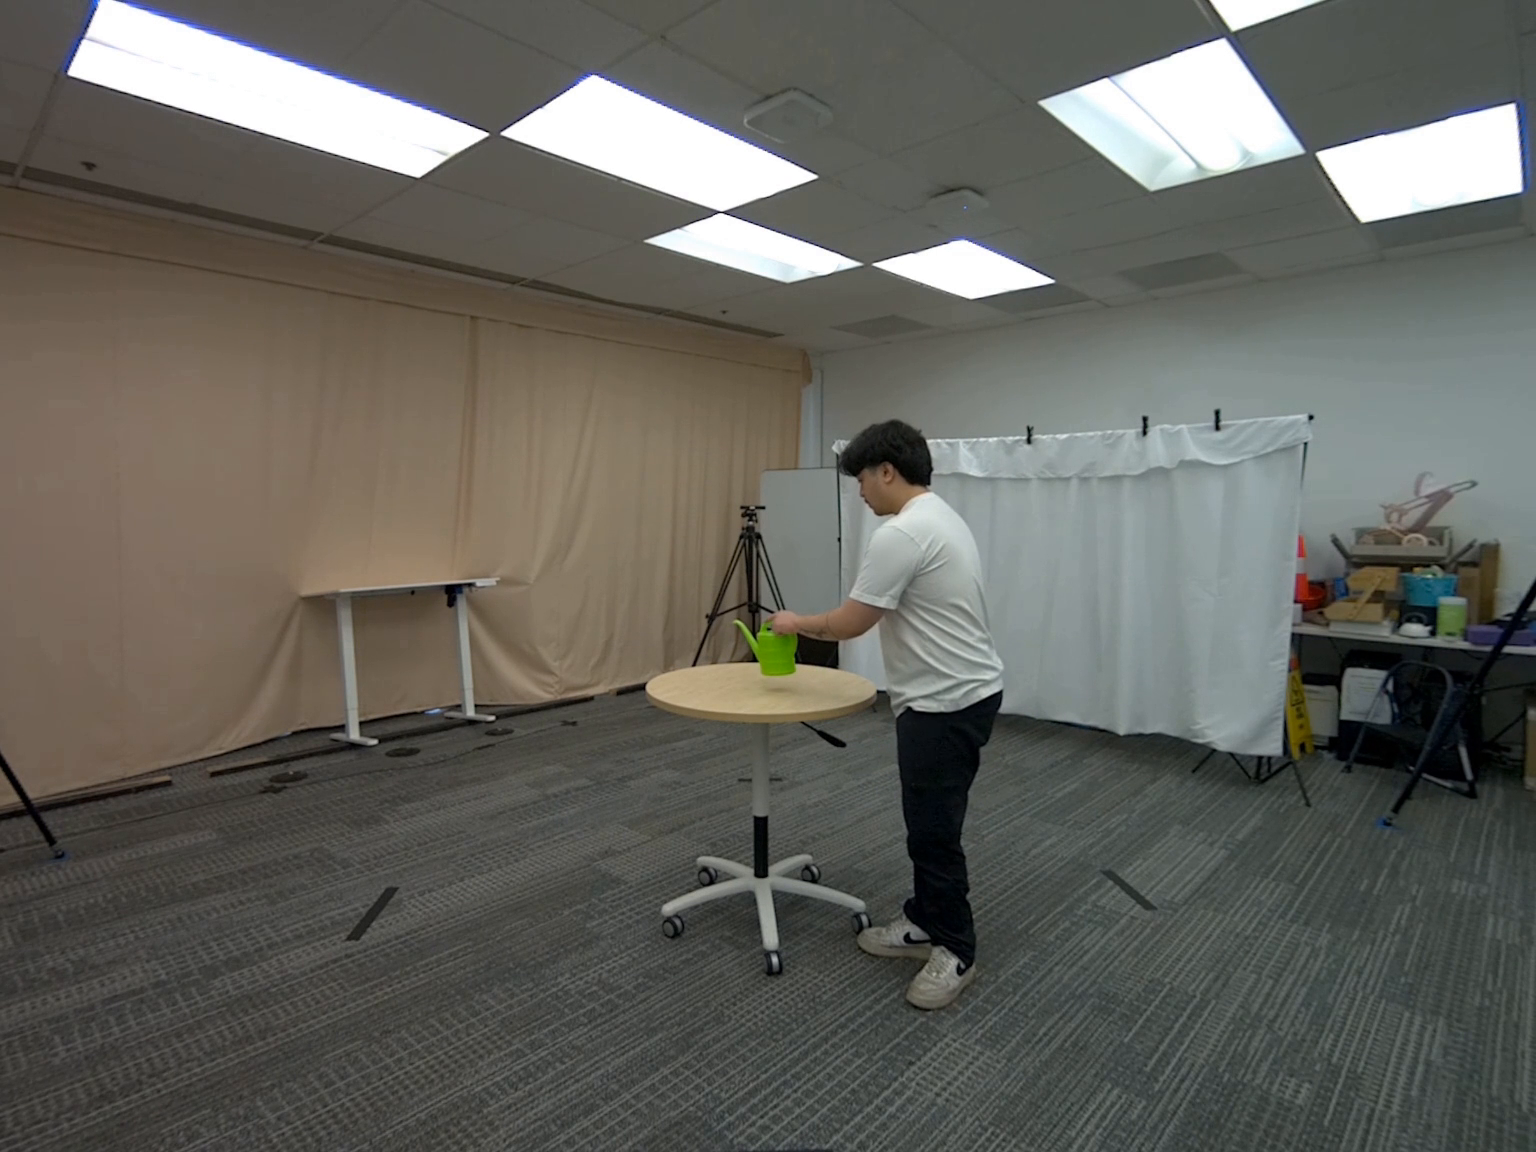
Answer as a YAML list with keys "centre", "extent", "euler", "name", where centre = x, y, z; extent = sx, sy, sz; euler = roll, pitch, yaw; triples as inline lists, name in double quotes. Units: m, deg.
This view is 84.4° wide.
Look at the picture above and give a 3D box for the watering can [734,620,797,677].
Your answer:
- centre: [0.001, 0.234, 2.767]
  extent: [0.095, 0.177, 0.286]
  euler: [-5, 2, -34]
  name: "watering can"
